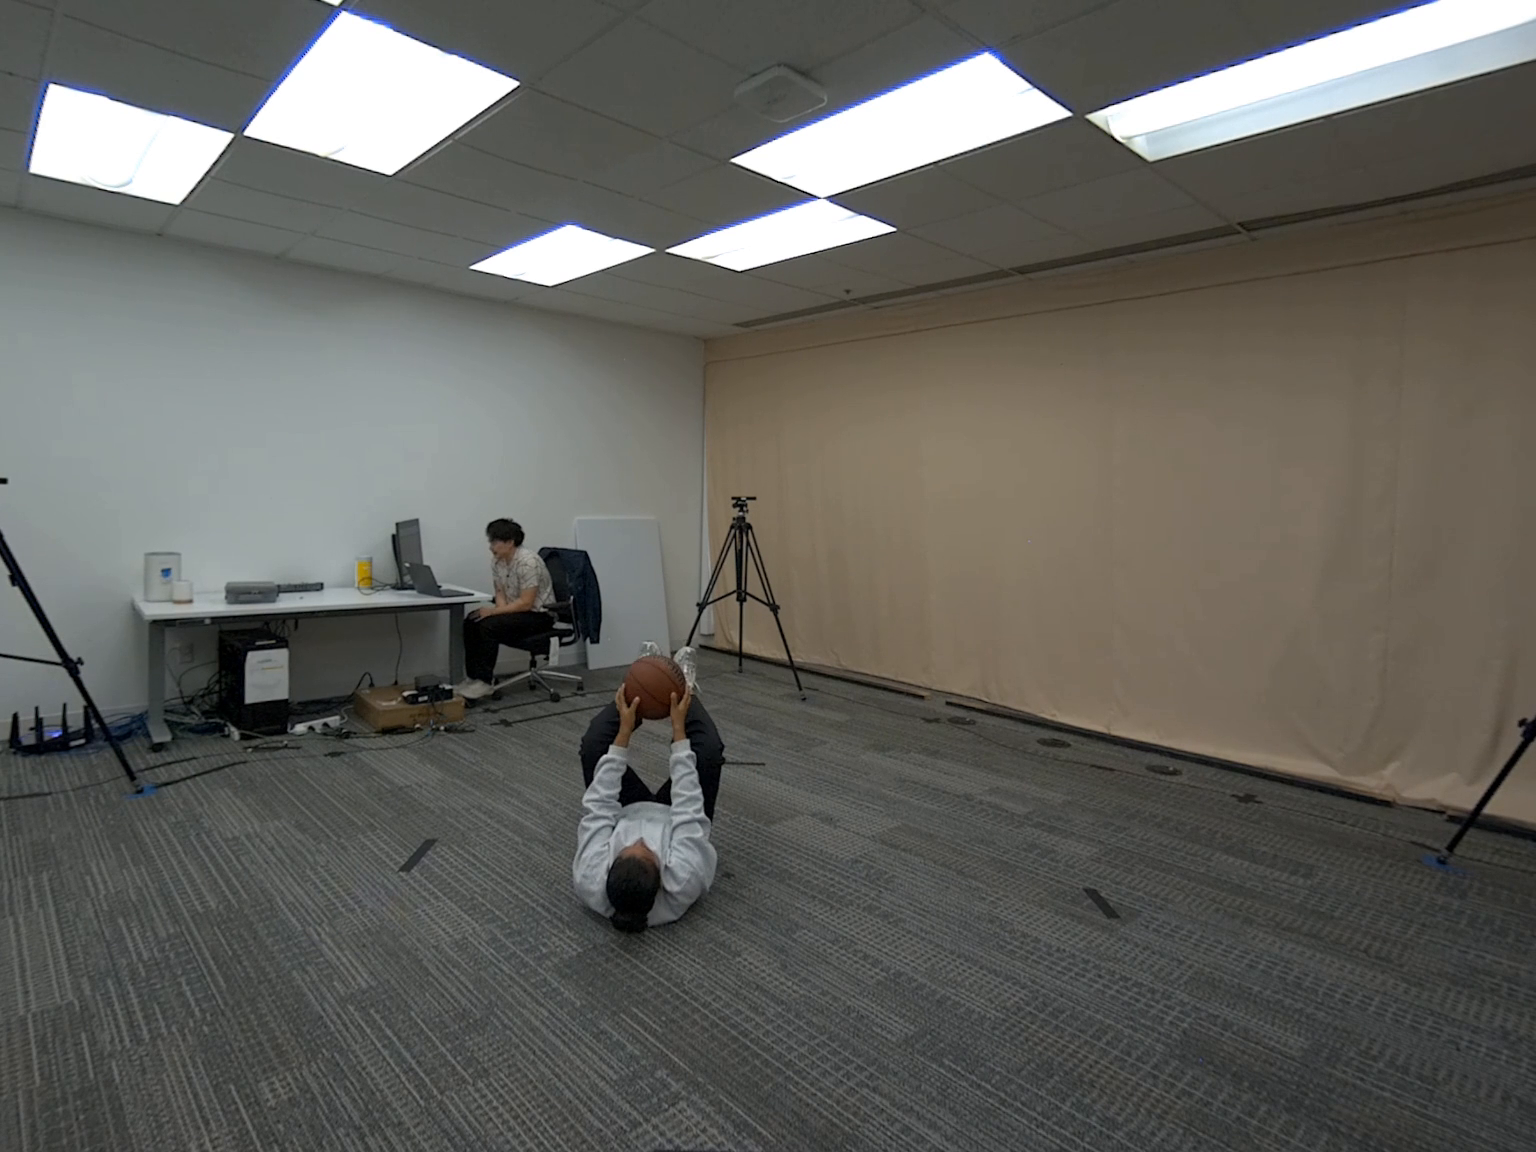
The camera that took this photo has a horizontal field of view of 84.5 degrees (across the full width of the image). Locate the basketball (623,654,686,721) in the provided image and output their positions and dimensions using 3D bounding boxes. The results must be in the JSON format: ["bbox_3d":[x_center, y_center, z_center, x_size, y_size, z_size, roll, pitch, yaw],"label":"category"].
[{"bbox_3d":[-0.429,0.408,3.096,0.236,0.235,0.237,1,4,-1],"label":"basketball"}]
